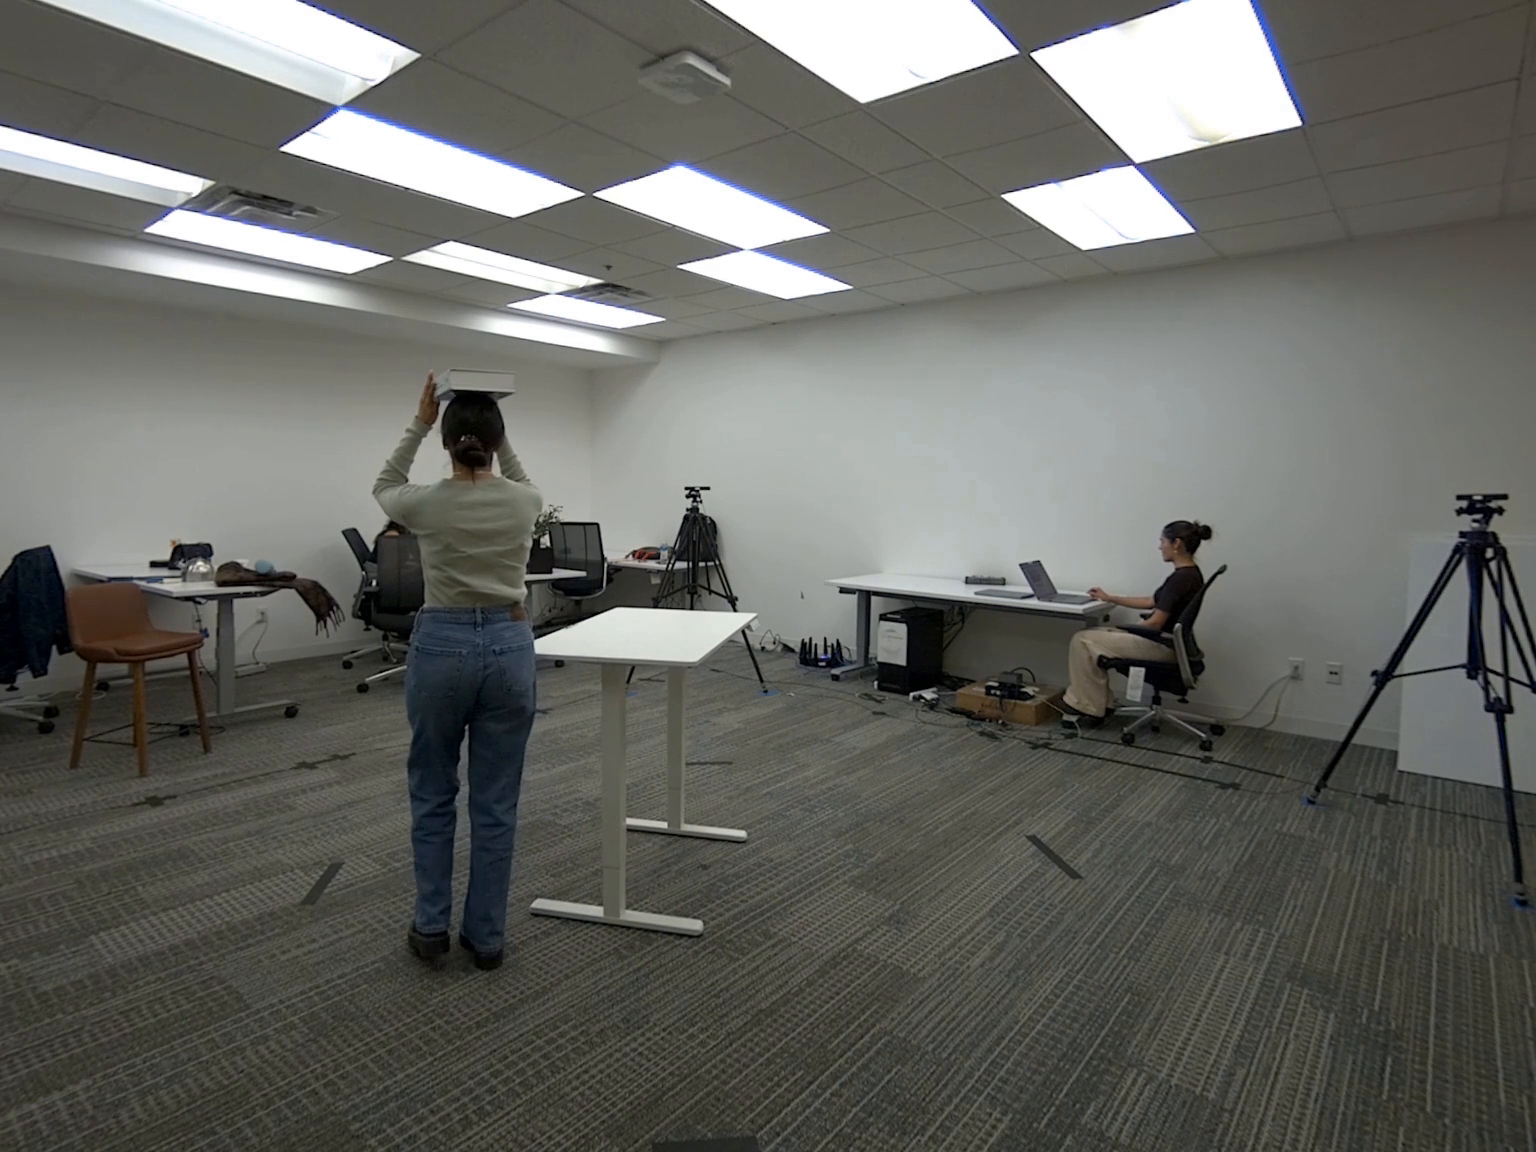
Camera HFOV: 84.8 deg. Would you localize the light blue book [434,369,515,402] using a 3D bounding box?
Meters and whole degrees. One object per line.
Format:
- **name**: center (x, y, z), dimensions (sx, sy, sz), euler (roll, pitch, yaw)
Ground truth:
- **light blue book**: center (-0.884, -0.552, 2.452), dimensions (0.186, 0.059, 0.269), euler (-4, 7, -34)
